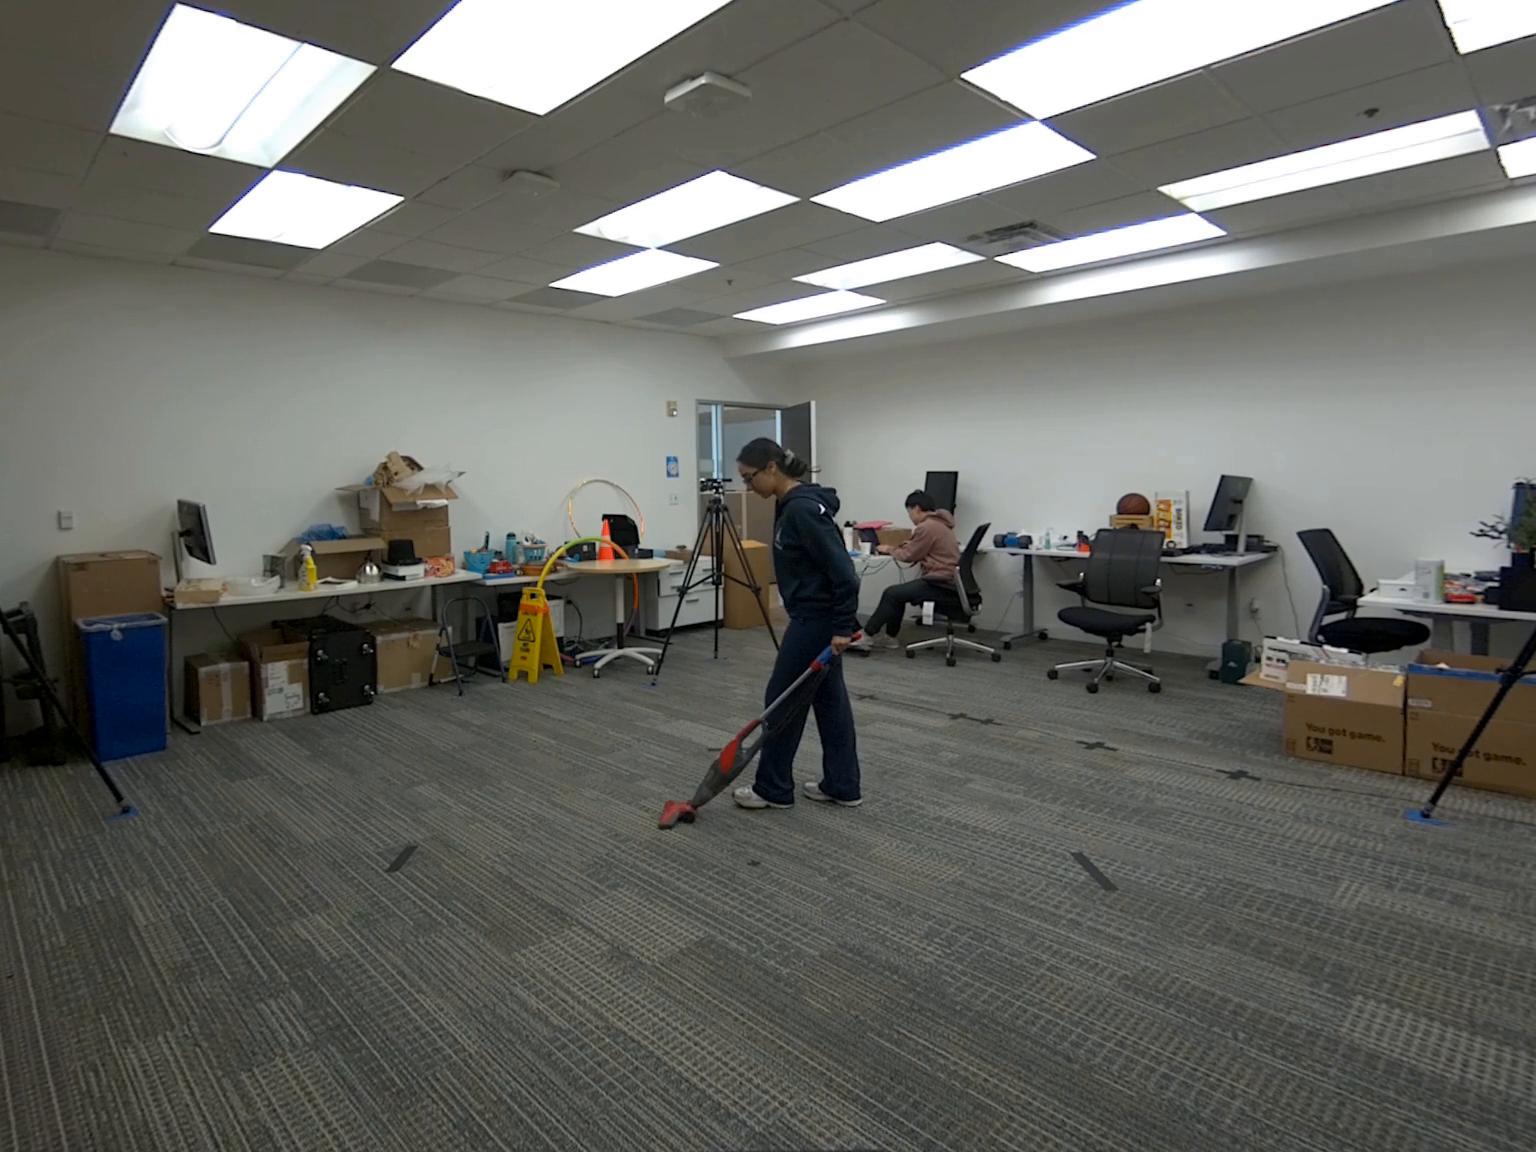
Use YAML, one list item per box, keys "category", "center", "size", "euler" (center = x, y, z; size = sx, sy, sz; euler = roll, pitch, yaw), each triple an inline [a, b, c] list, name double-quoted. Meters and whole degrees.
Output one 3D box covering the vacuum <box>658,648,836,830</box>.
- category: "vacuum"
  center: [-0.025, 0.622, 3.490]
  size: [1.049, 0.144, 0.253]
  euler: [-45, 3, 7]
